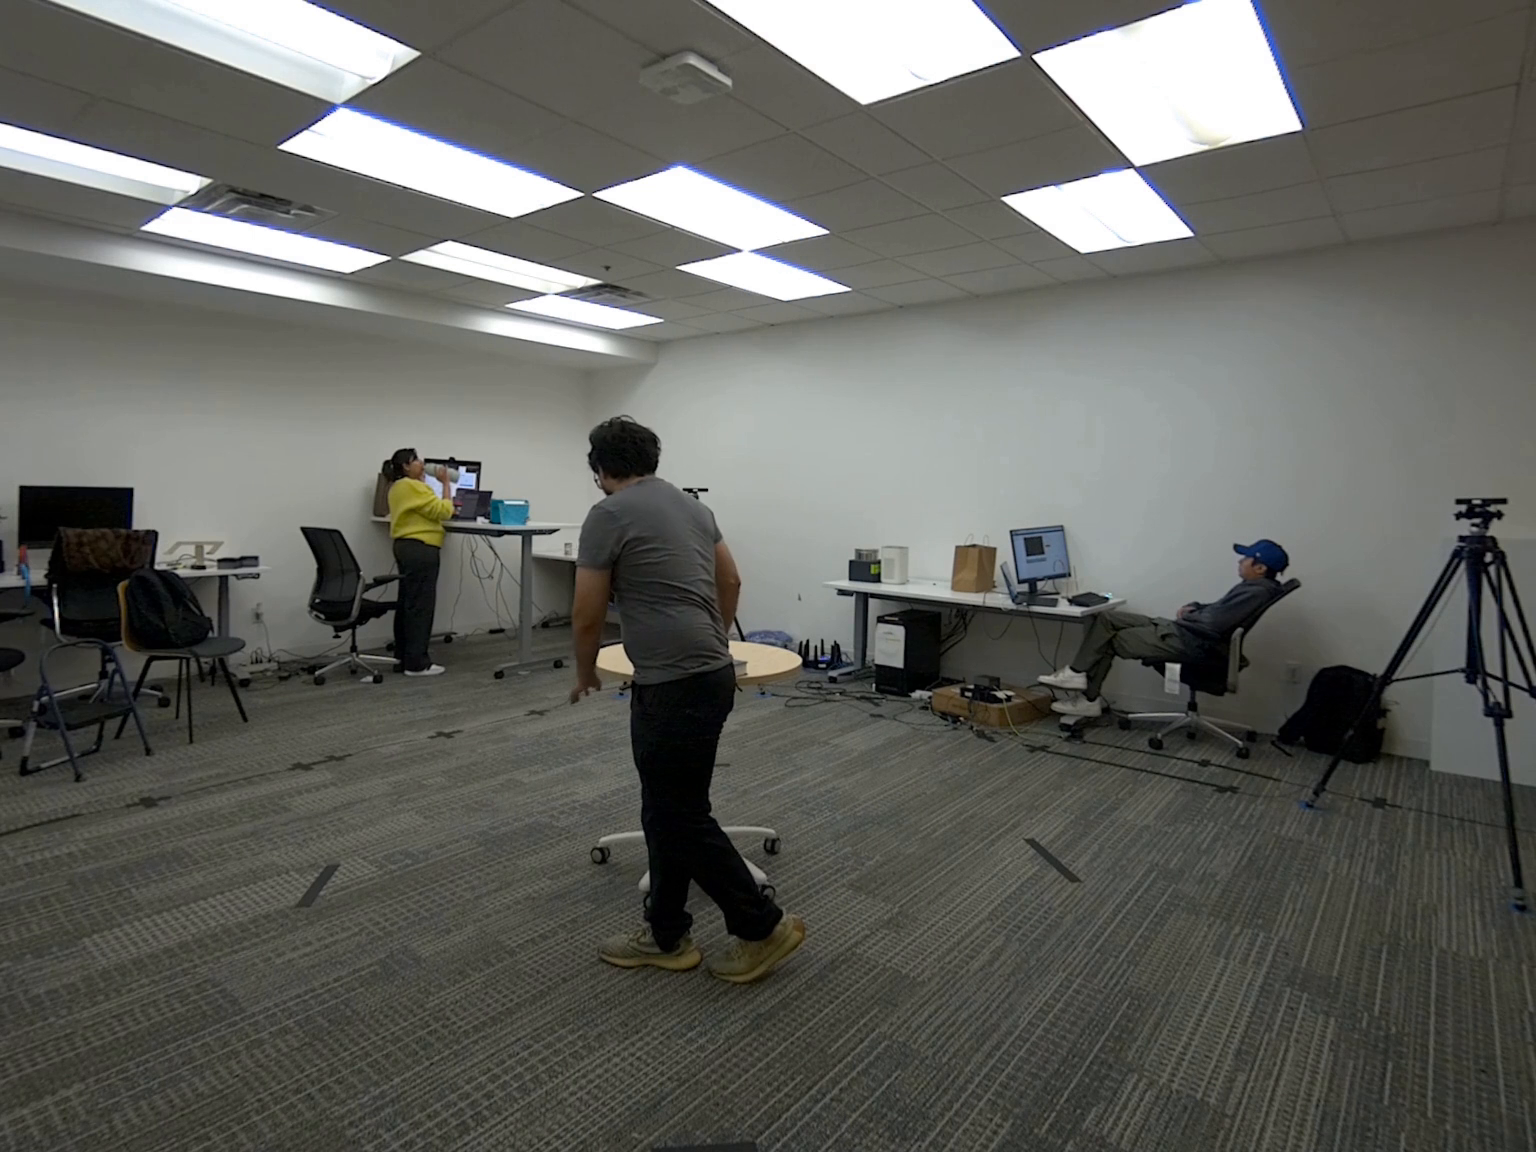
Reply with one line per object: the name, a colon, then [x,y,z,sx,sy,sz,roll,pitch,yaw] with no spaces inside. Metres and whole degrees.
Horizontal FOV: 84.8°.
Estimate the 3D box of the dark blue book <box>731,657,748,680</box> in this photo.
dark blue book: [-0.219,0.293,2.780,0.253,0.045,0.159,4,6,37]
